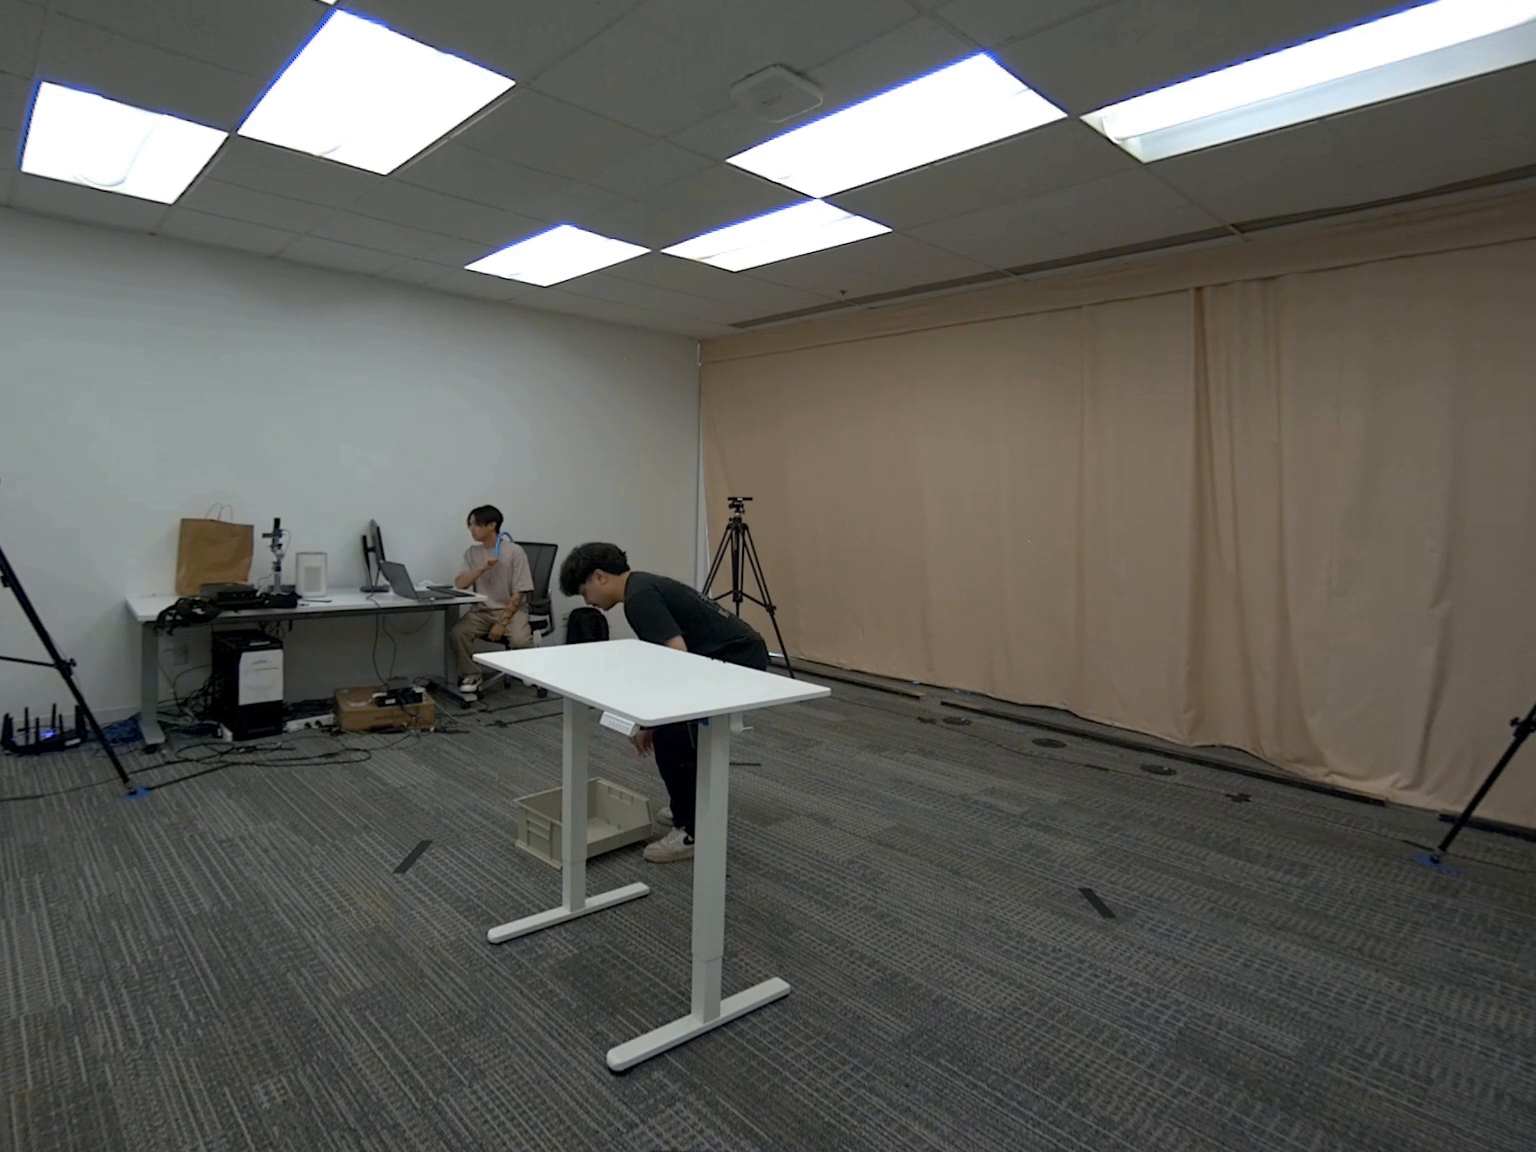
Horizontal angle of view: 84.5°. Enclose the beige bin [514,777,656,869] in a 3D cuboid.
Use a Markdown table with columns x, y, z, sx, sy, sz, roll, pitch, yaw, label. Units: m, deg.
| x | y | z | sx | sy | sz | roll | pitch | yaw | label |
| --- | --- | --- | --- | --- | --- | --- | --- | --- | --- |
| -0.736 | 0.982 | 3.356 | 0.387 | 0.188 | 0.413 | 5 | 6 | 43 | beige bin |
